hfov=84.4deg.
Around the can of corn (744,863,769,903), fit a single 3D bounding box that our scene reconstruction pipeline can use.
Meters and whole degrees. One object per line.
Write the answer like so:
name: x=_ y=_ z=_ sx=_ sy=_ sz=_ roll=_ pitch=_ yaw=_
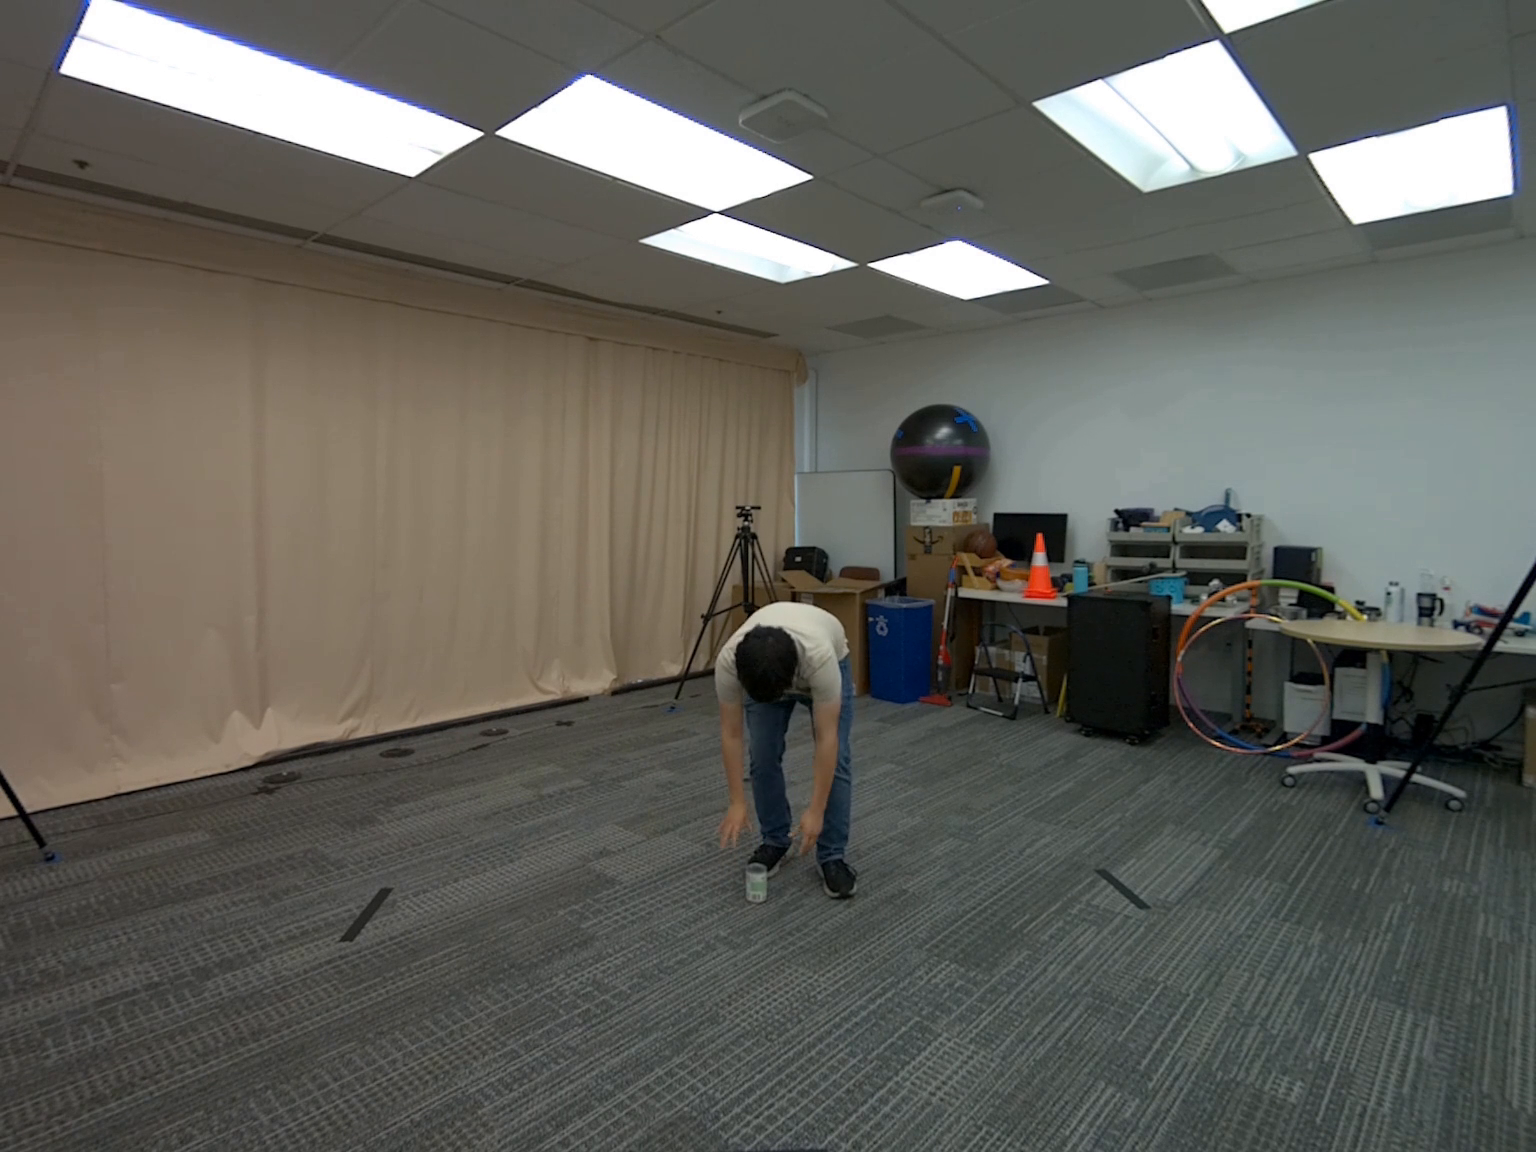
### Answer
can of corn: x=-0.039 y=1.091 z=2.978 sx=0.074 sy=0.110 sz=0.074 roll=-2 pitch=6 yaw=-2
